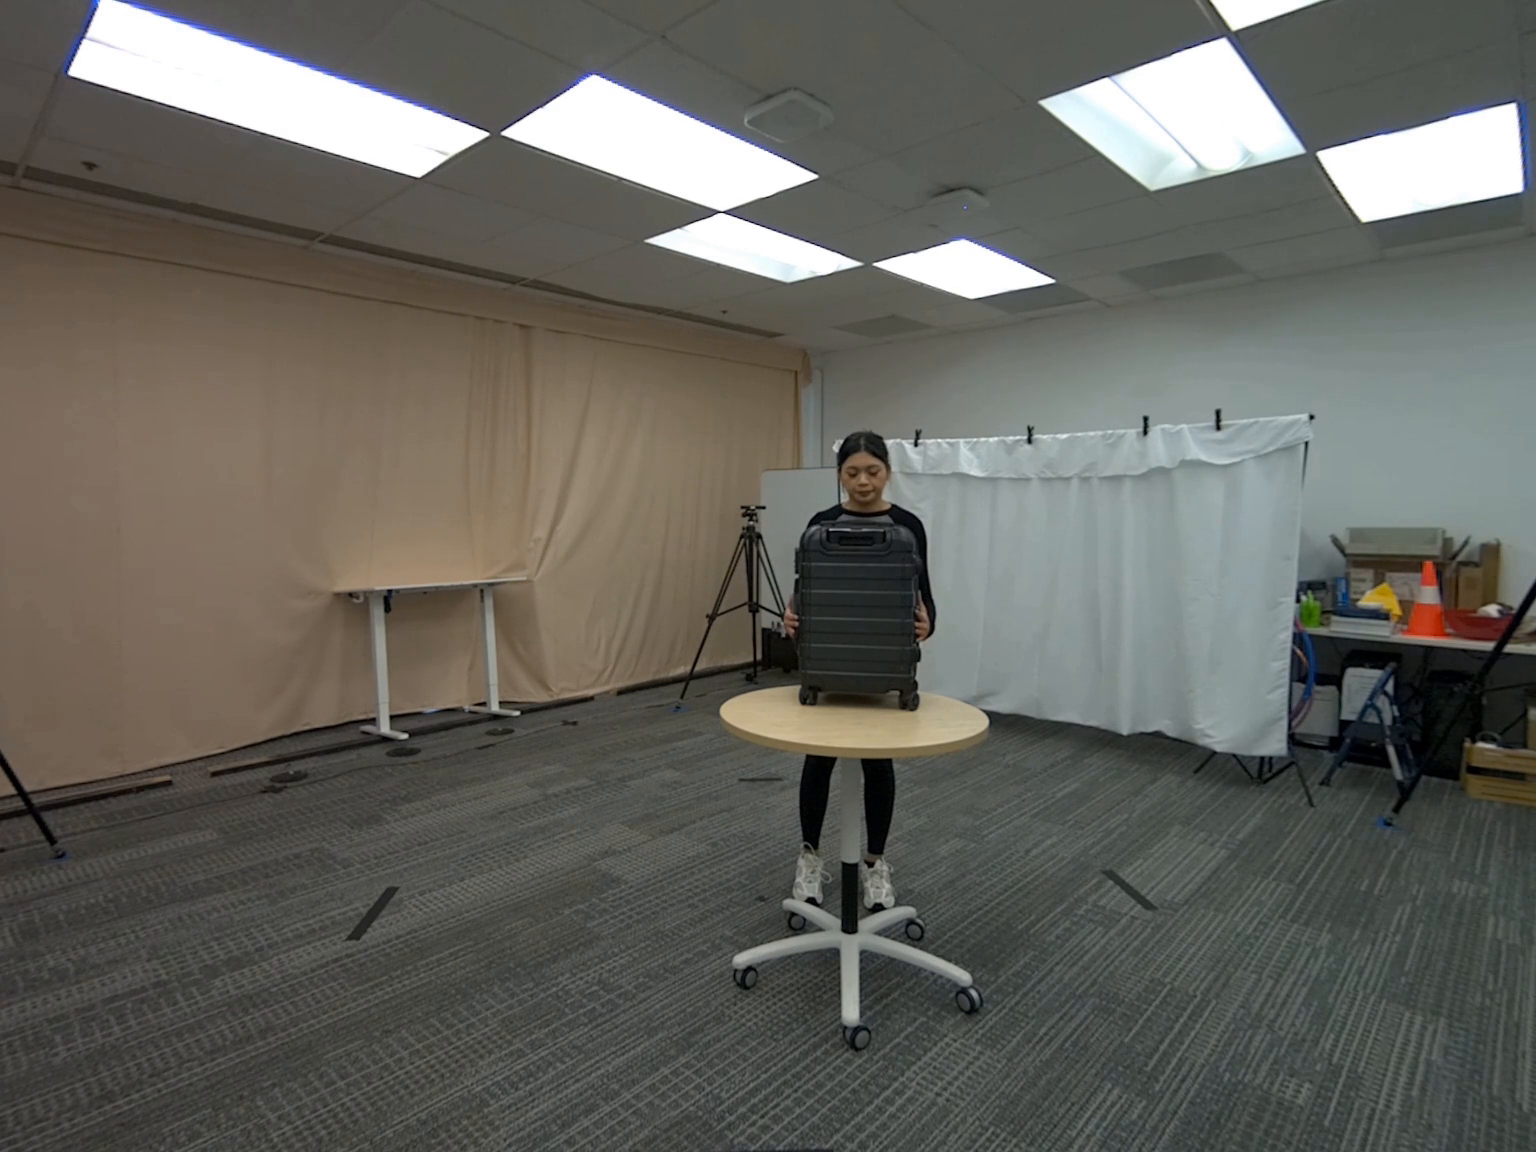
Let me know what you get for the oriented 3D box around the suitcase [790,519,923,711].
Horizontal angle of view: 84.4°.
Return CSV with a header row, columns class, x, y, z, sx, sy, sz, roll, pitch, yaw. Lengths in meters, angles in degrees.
class,x,y,z,sx,sy,sz,roll,pitch,yaw
suitcase,0.272,0.107,2.586,0.380,0.548,0.246,1,4,11
